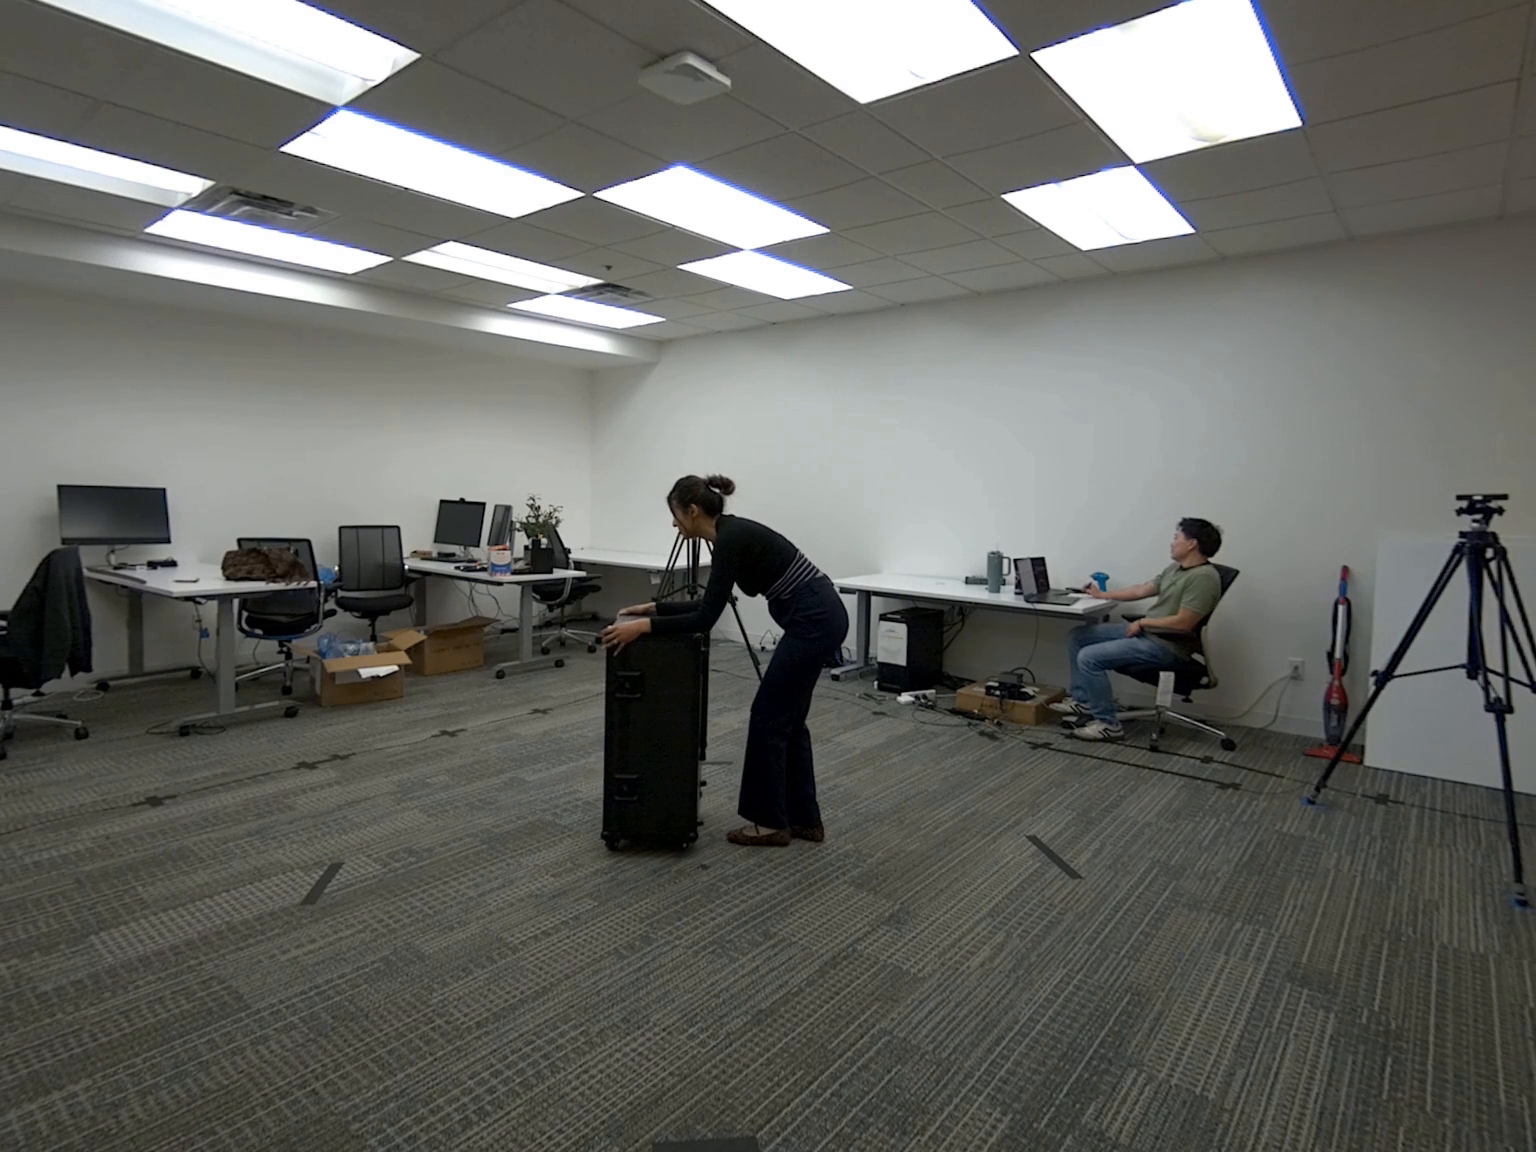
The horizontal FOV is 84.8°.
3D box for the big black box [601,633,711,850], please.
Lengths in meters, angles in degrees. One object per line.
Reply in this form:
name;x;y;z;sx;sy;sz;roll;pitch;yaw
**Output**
big black box;-0.443;0.611;3.397;0.396;0.859;0.523;3;3;-1
